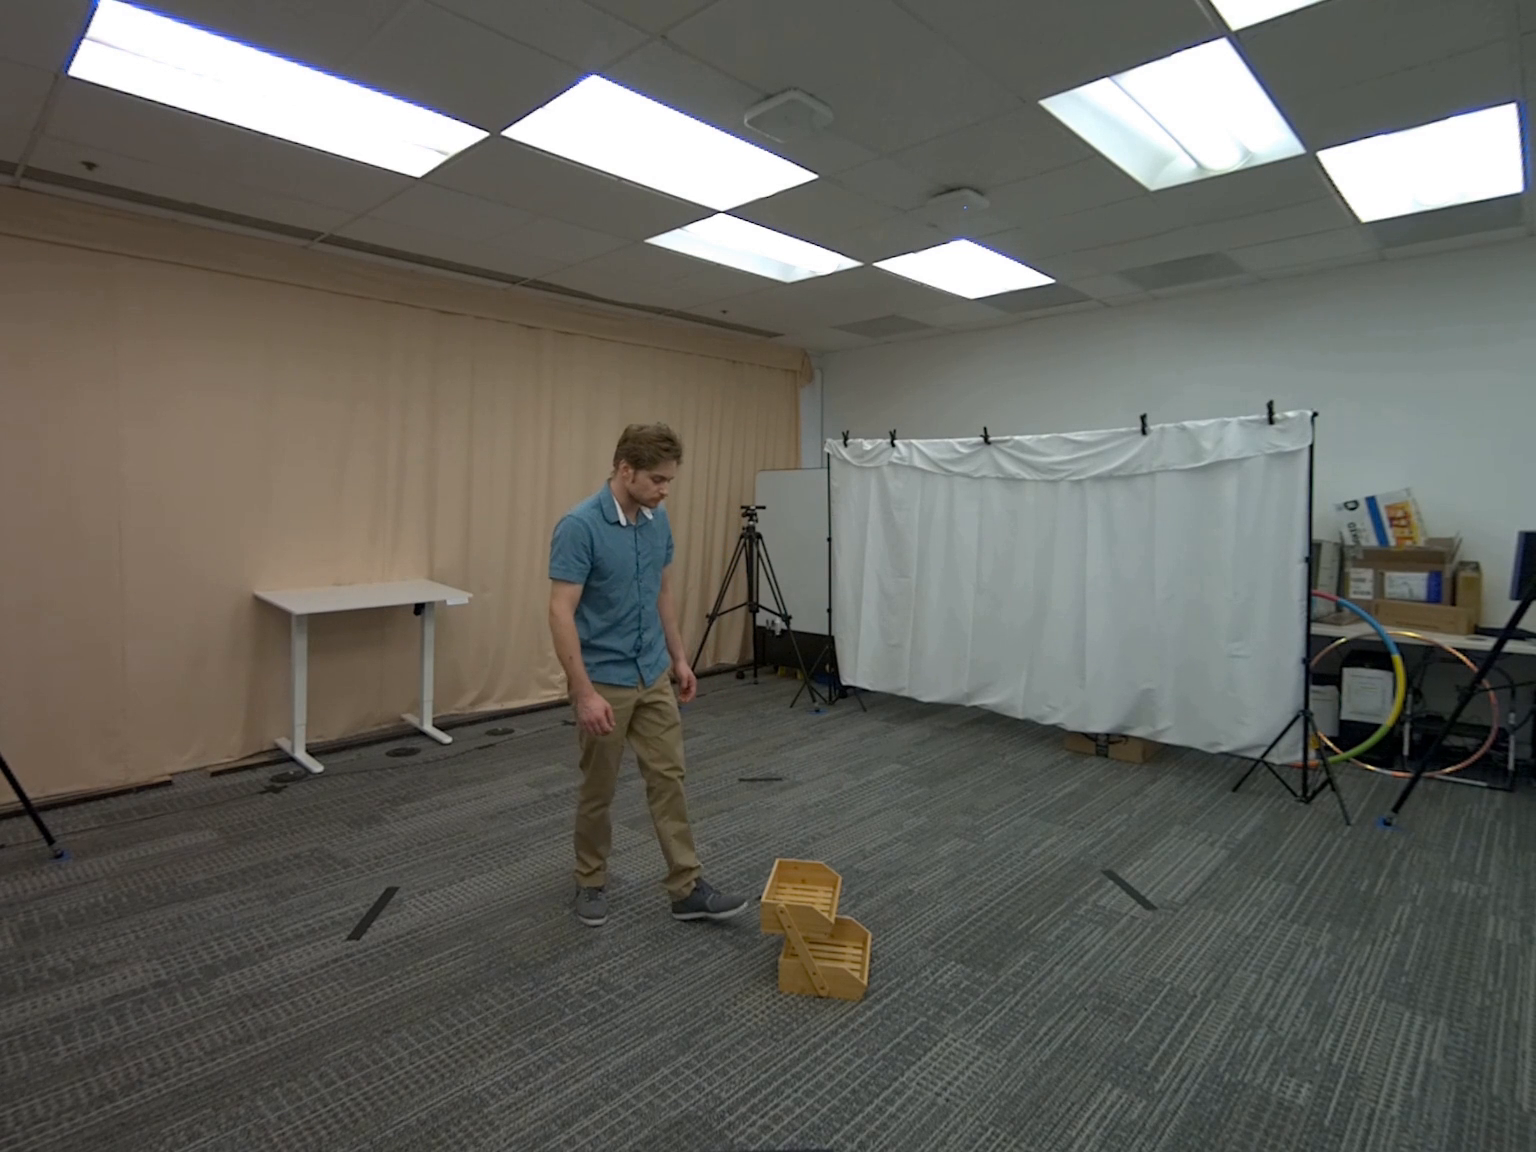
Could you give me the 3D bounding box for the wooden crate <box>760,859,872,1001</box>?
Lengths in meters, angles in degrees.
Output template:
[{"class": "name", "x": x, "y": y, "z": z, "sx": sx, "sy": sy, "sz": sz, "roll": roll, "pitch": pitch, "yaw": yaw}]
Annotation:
[{"class": "wooden crate", "x": 0.166, "y": 1.050, "z": 2.527, "sx": 0.306, "sy": 0.273, "sz": 0.321, "roll": 0, "pitch": 3, "yaw": 11}]
